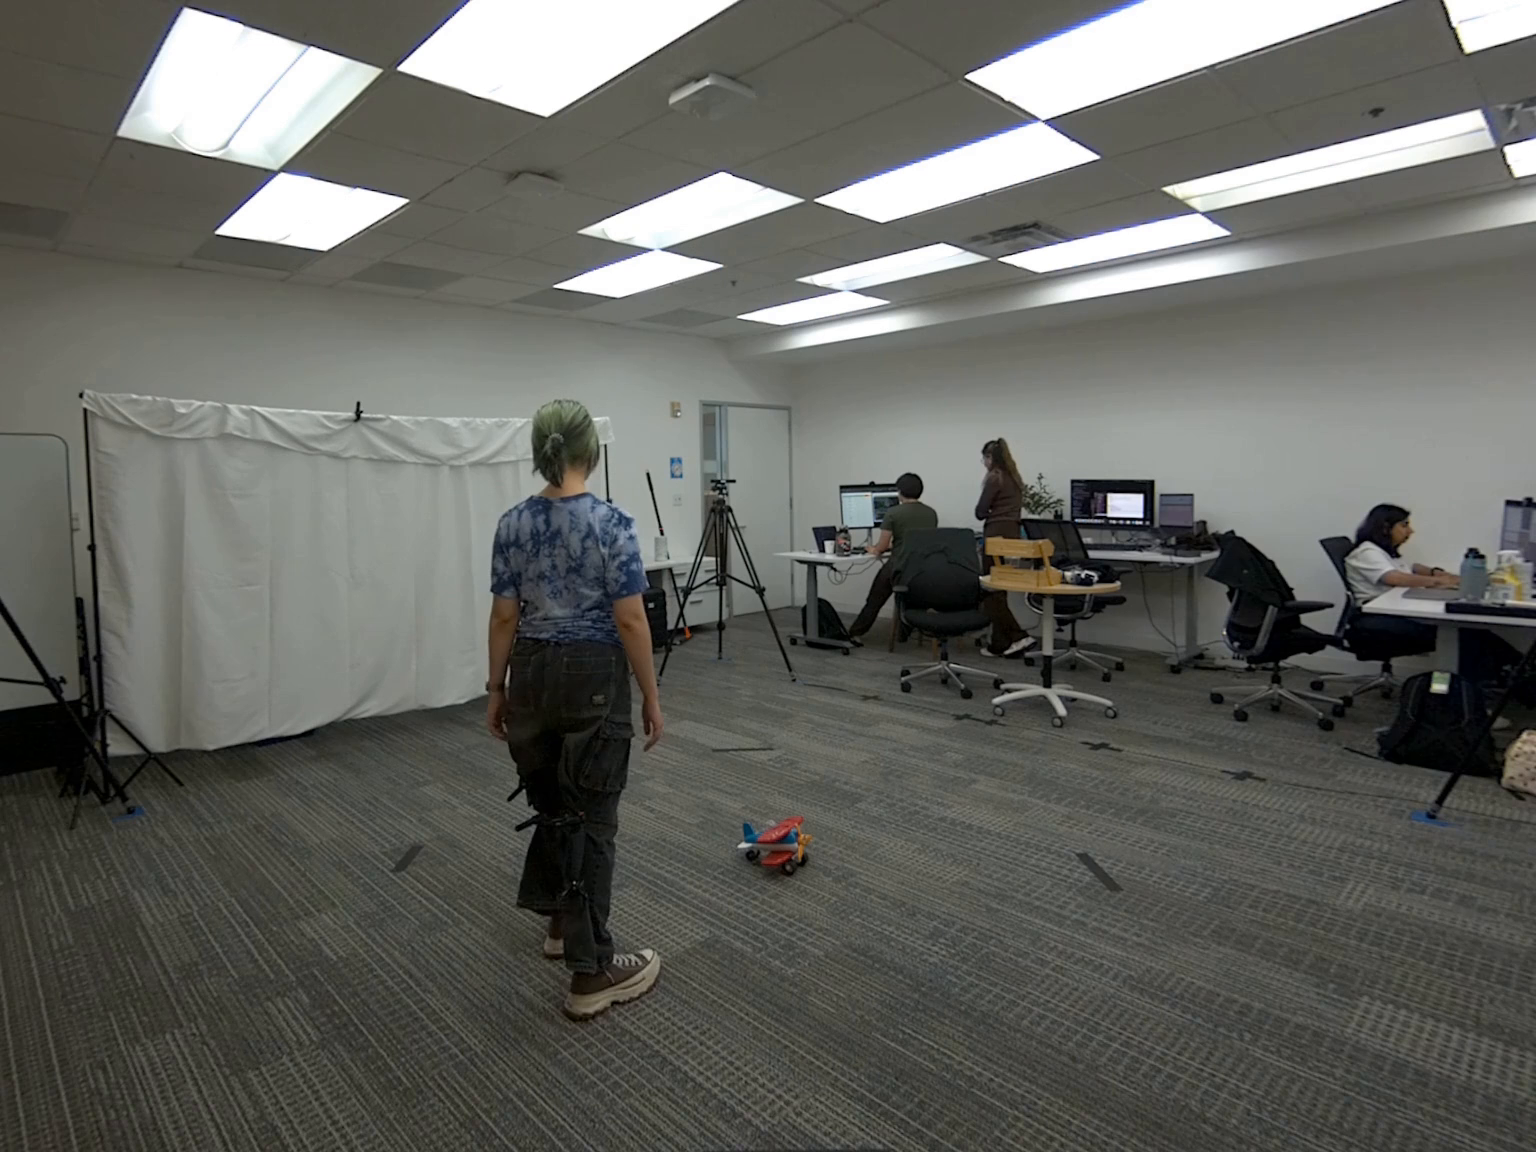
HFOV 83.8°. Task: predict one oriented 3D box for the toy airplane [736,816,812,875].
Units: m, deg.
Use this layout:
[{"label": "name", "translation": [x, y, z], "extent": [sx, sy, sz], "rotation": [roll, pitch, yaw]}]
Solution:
[{"label": "toy airplane", "translation": [0.018, 0.971, 3.081], "extent": [0.260, 0.156, 0.251], "rotation": [1, 5, 4]}]
